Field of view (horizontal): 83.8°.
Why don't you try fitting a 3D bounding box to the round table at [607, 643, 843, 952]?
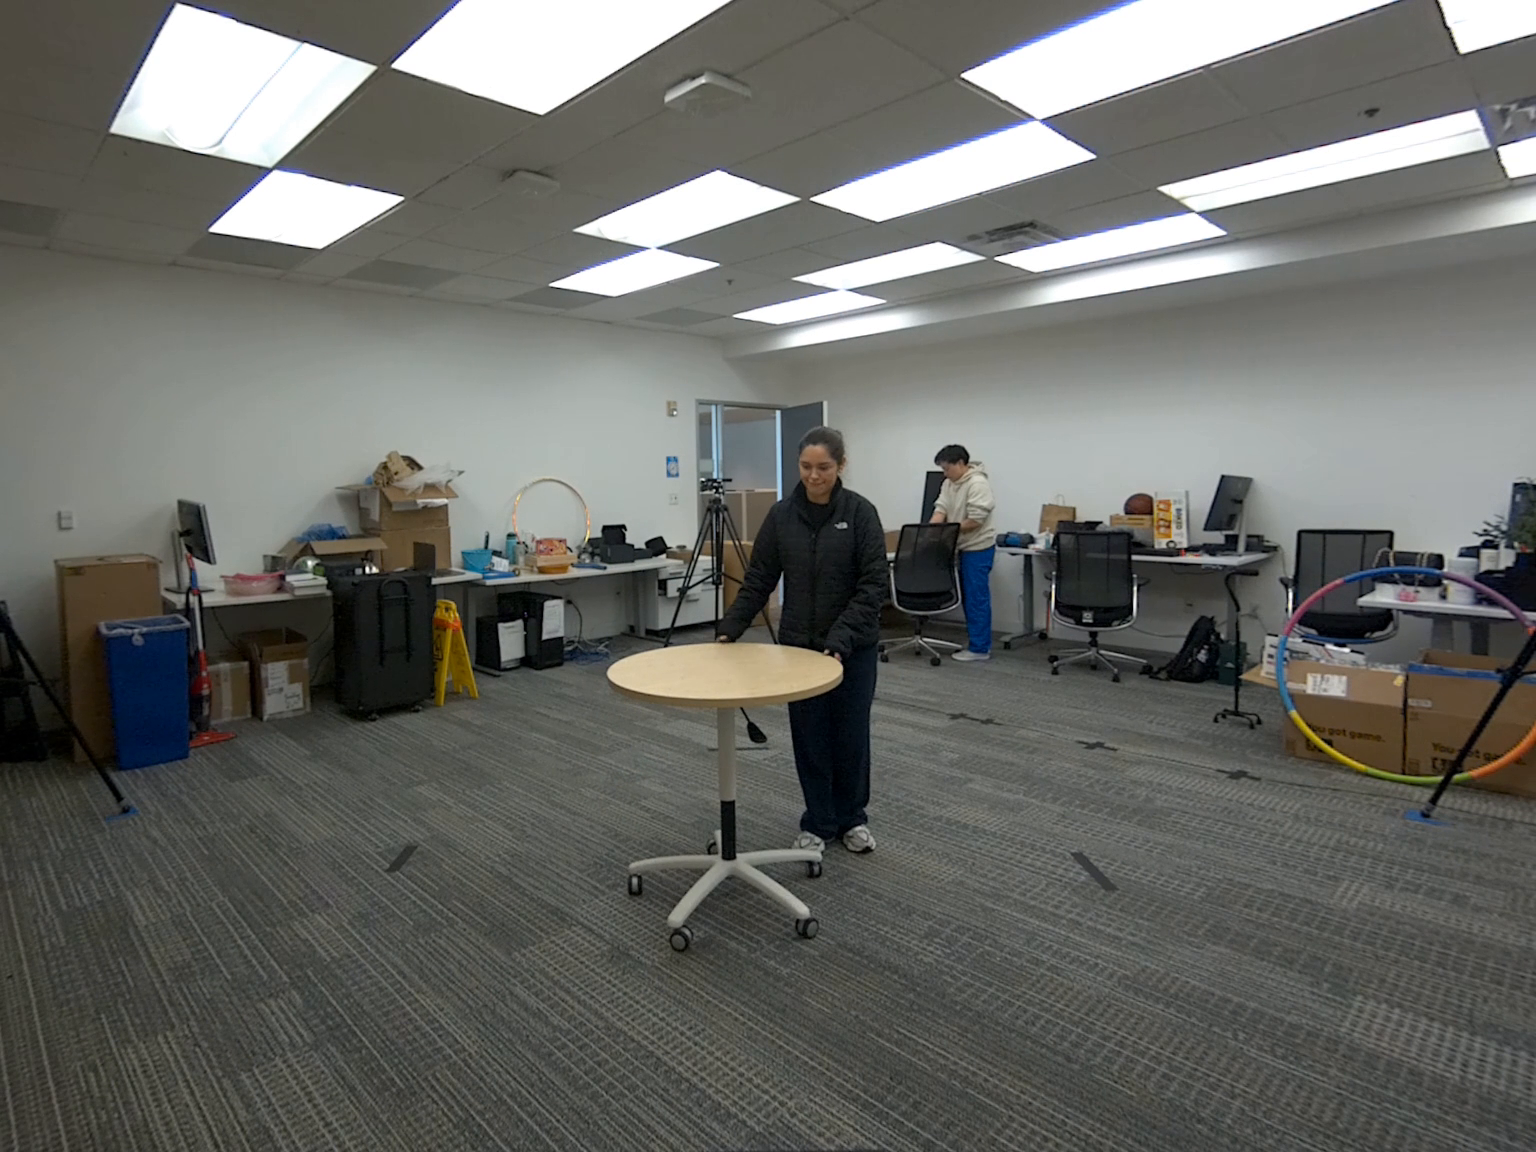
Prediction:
[{"bbox_3d":[-0.143,0.684,2.822,0.784,0.783,0.789,-1,5,-2],"label":"round table"}]
